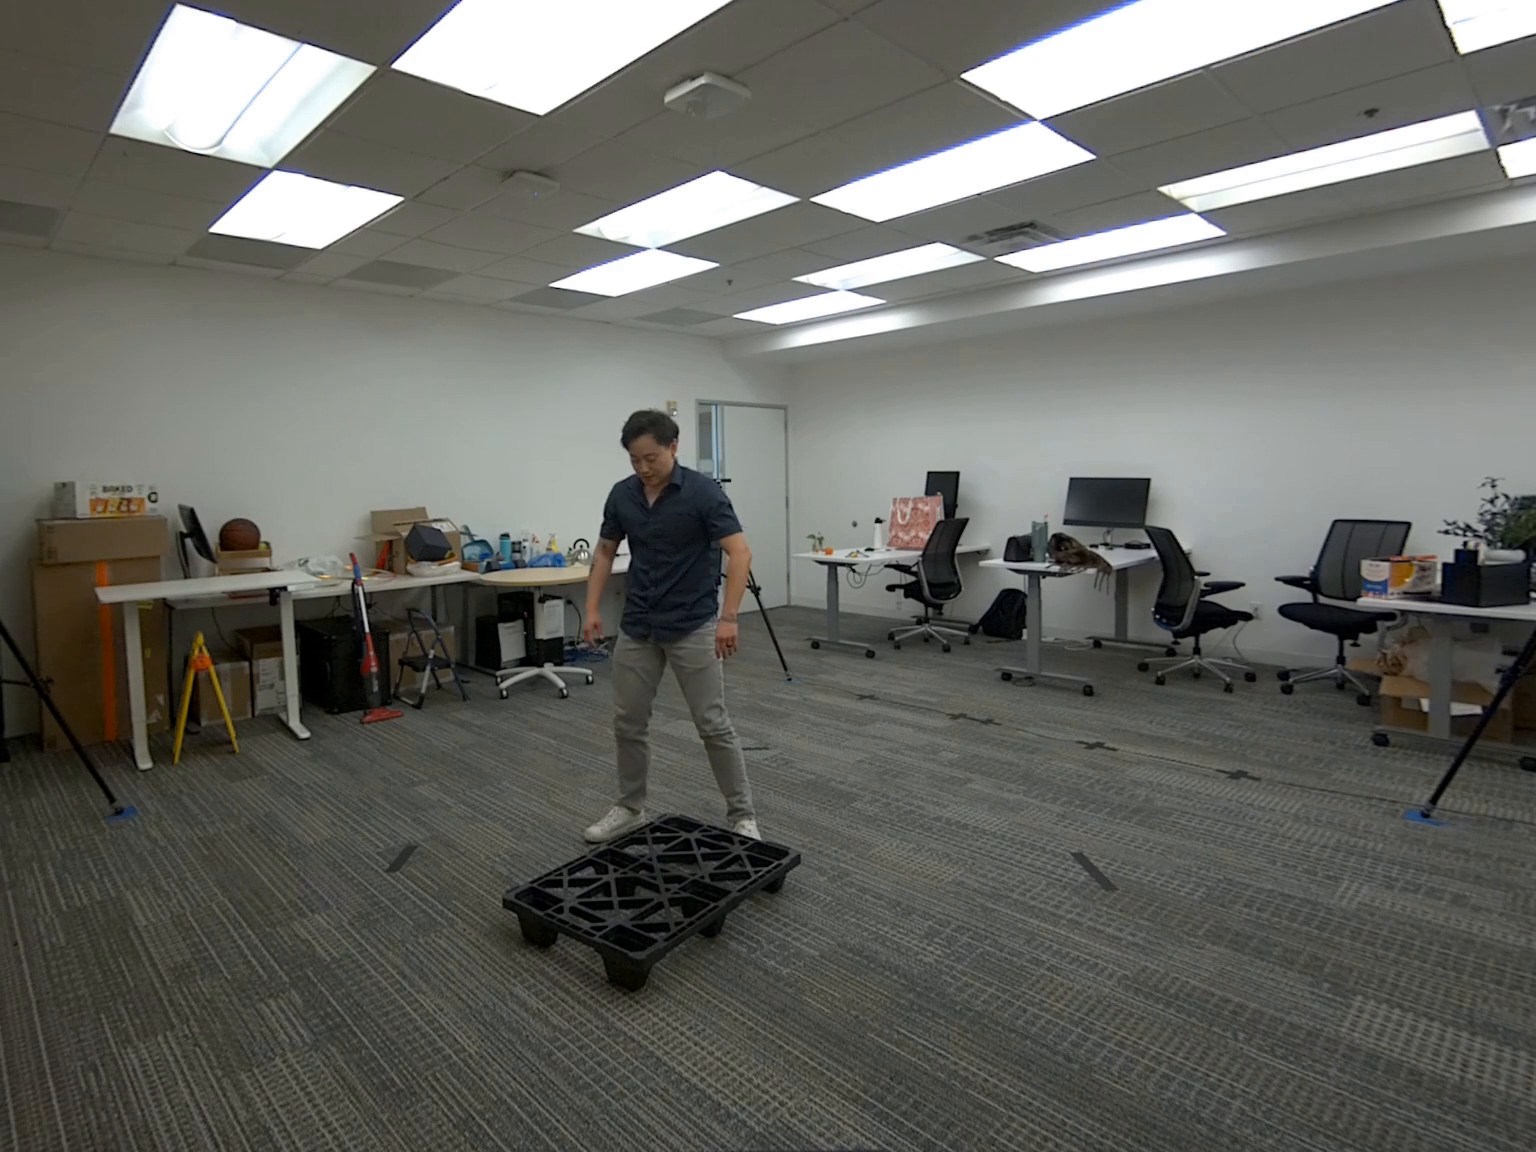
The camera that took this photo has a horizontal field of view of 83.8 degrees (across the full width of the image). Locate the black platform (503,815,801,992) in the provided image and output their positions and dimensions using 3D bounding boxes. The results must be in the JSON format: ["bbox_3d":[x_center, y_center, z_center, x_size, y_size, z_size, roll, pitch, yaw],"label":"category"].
[{"bbox_3d":[-0.352,1.026,2.759,0.623,0.143,0.786,3,8,36],"label":"black platform"}]
